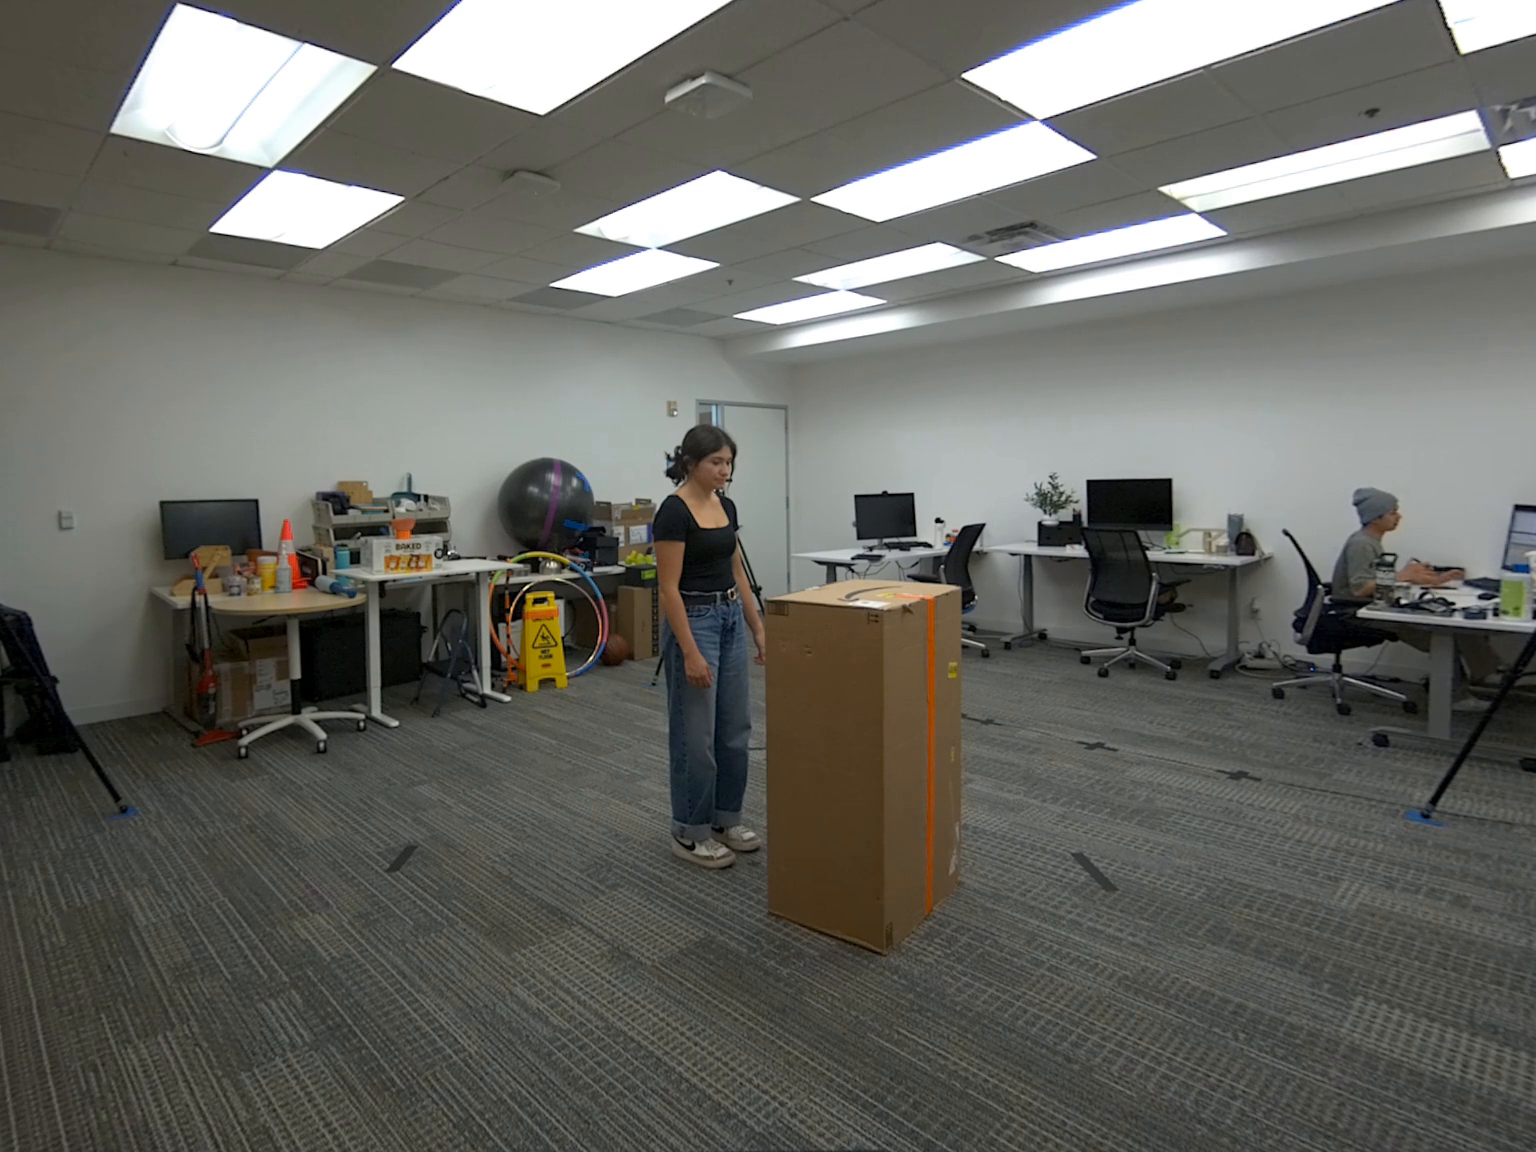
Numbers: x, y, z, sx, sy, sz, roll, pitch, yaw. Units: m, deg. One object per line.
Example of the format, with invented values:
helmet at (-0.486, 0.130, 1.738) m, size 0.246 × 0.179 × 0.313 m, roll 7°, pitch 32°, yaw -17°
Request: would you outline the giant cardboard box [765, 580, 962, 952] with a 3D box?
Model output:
giant cardboard box at (0.331, 0.564, 2.804) m, size 0.438 × 1.022 × 0.563 m, roll 2°, pitch 5°, yaw 36°
